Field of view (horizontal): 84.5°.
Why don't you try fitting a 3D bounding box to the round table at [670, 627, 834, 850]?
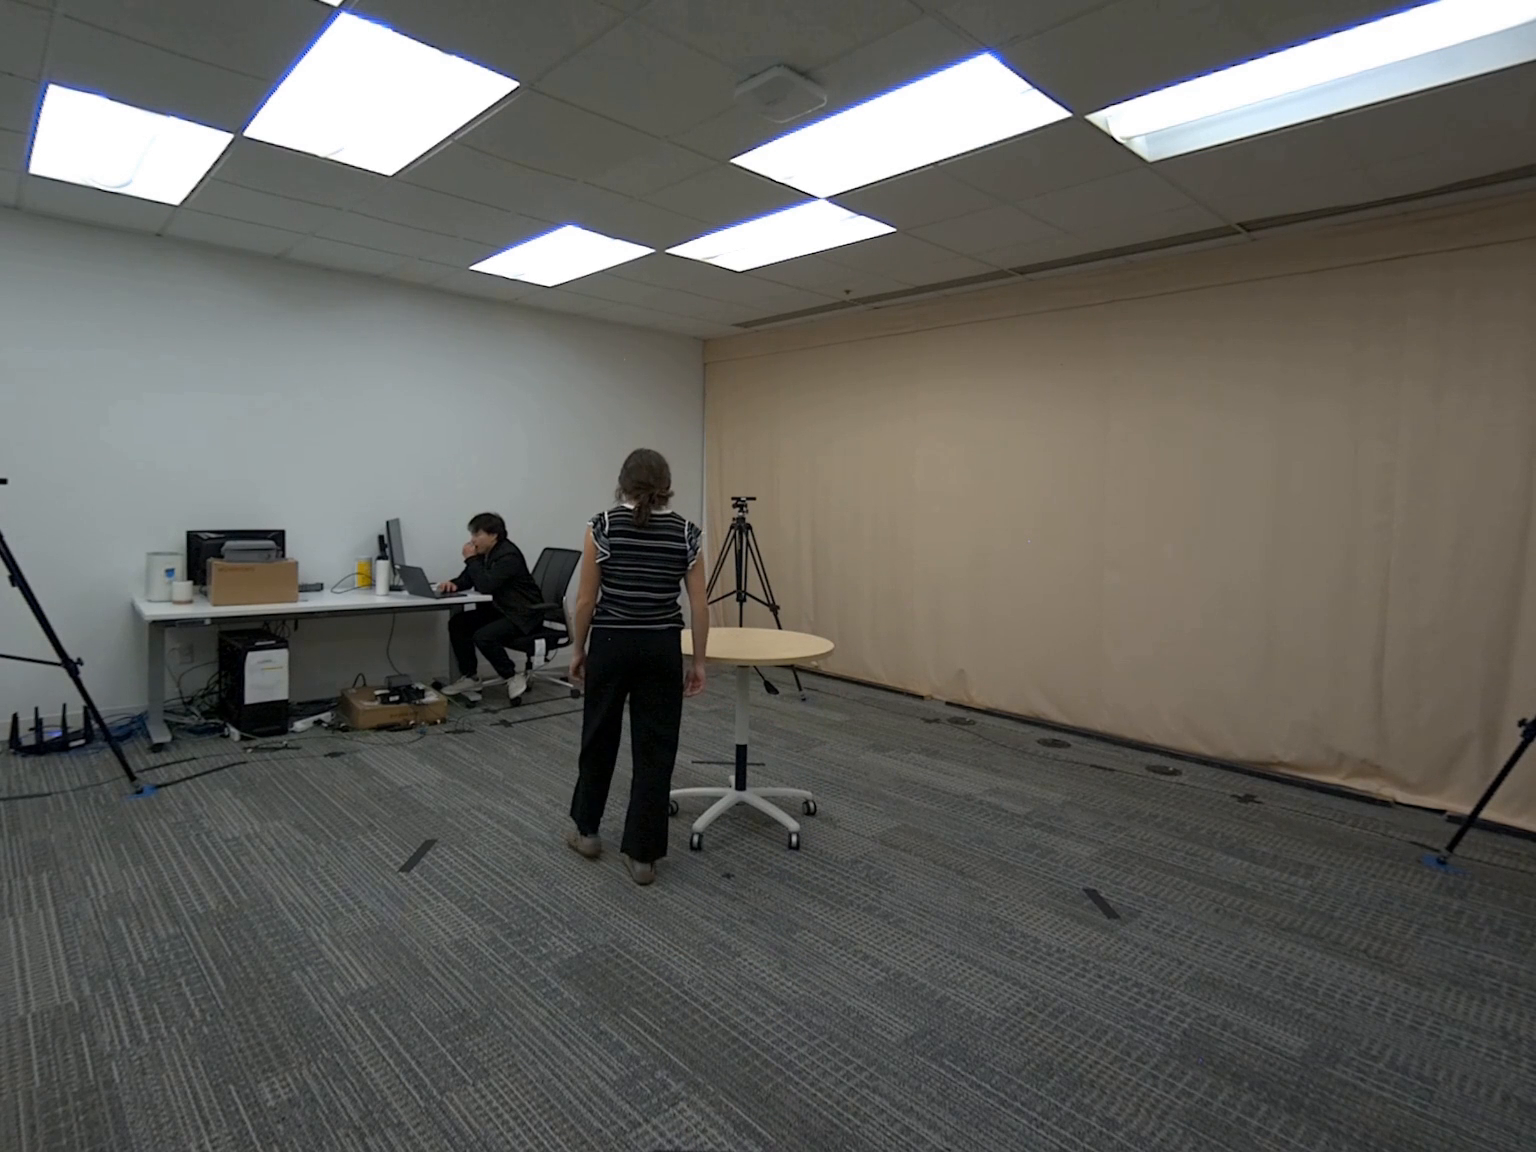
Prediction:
[{"bbox_3d":[-0.121,0.676,3.618,0.763,0.792,0.766,2,4,-1],"label":"round table"}]
